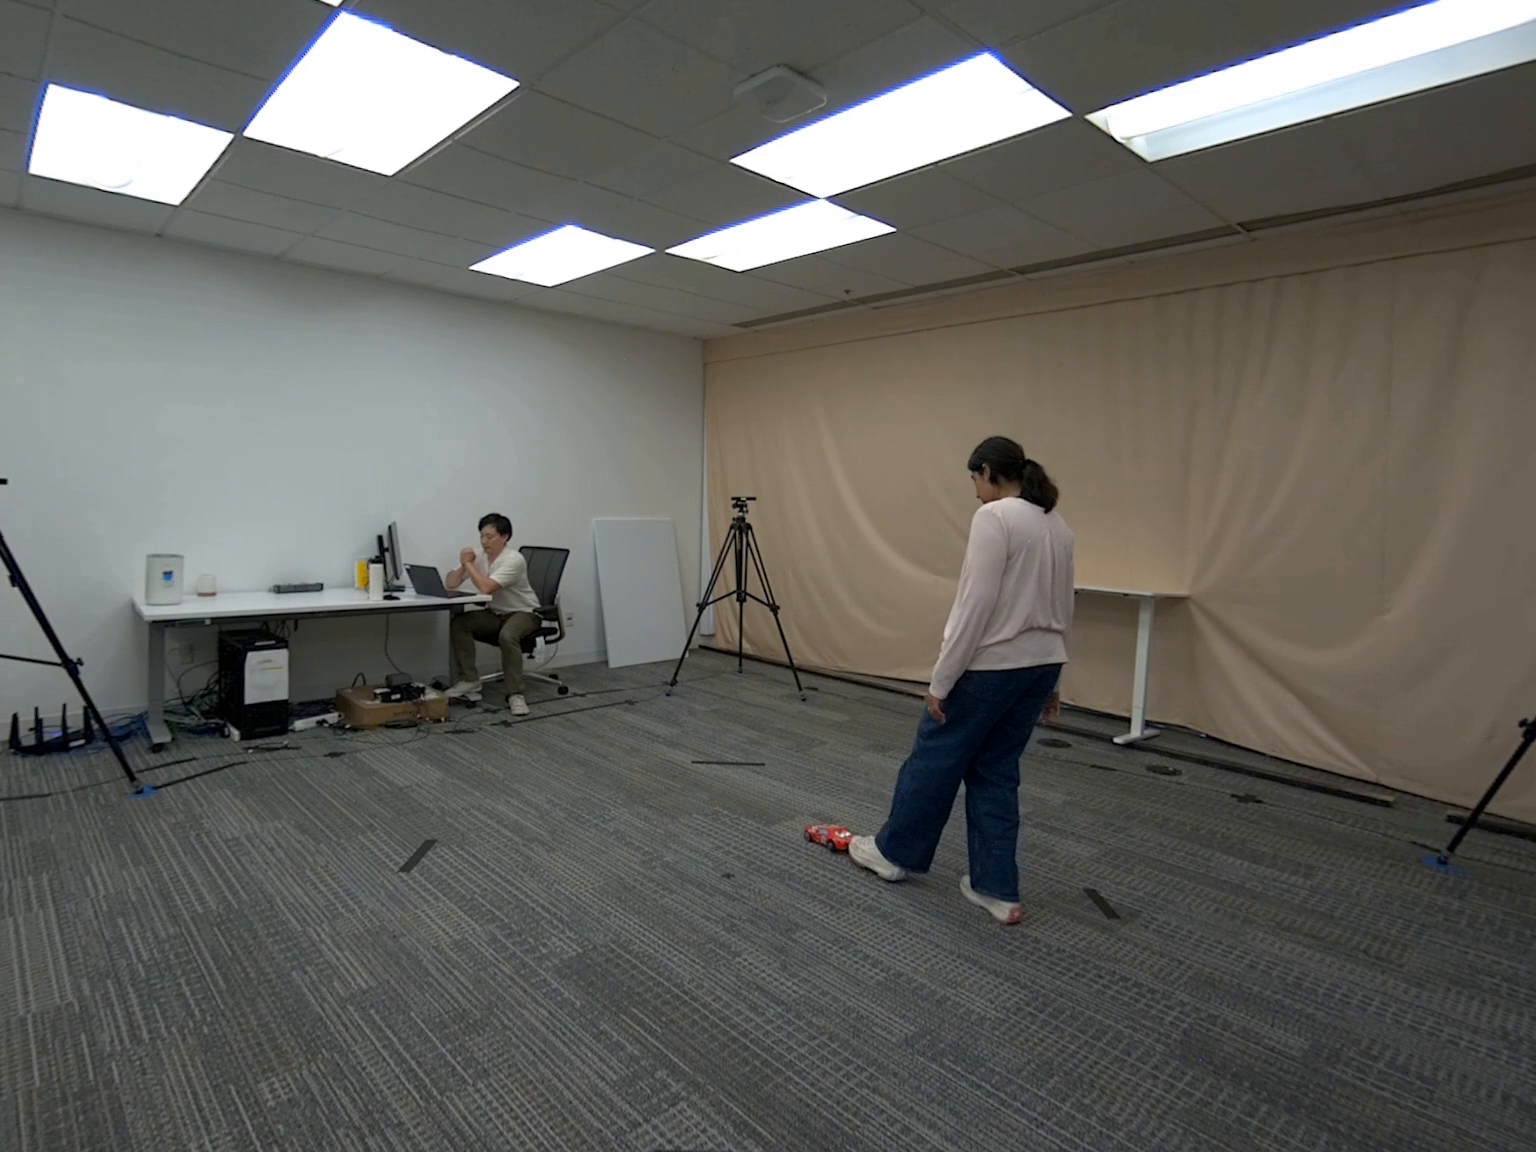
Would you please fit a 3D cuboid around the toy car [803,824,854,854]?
[{"bbox_3d":[0.255,1.053,3.390,0.127,0.084,0.258,-1,-9,-36],"label":"toy car"}]
